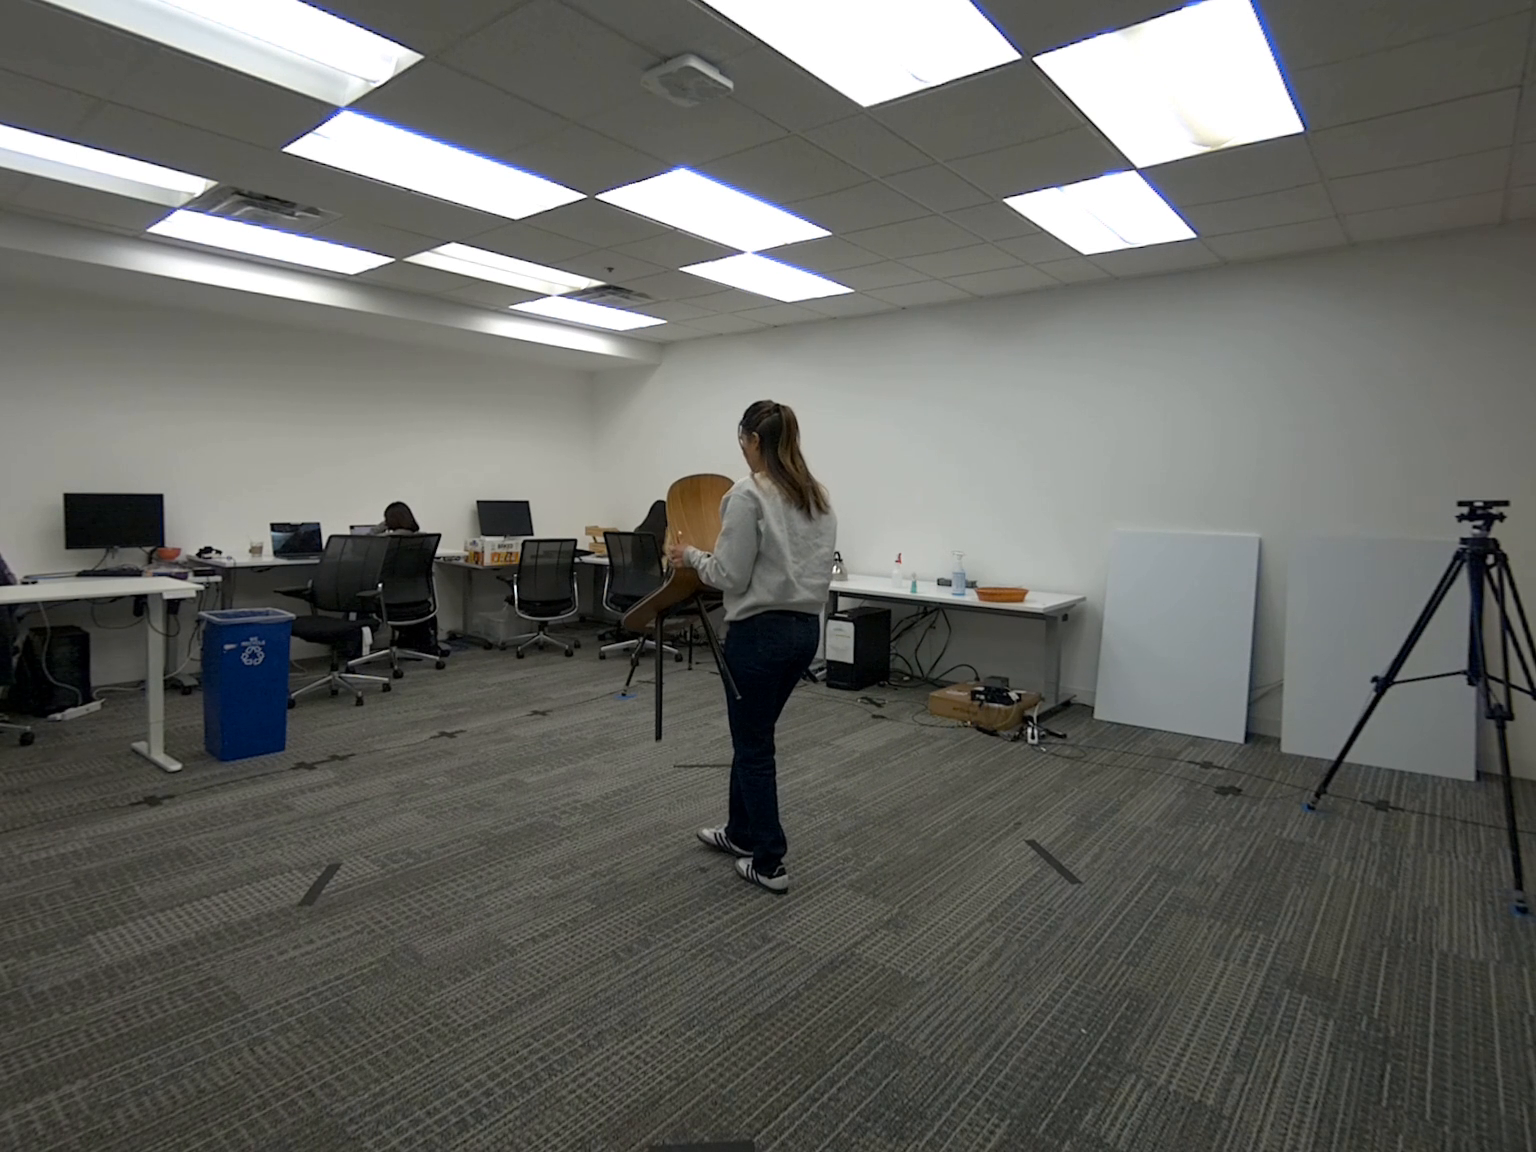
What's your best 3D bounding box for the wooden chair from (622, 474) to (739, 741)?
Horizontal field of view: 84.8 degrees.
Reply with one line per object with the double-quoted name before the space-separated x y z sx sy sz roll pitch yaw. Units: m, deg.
"wooden chair" -0.285 0.116 3.249 0.463 0.894 0.530 -1 -22 -47
